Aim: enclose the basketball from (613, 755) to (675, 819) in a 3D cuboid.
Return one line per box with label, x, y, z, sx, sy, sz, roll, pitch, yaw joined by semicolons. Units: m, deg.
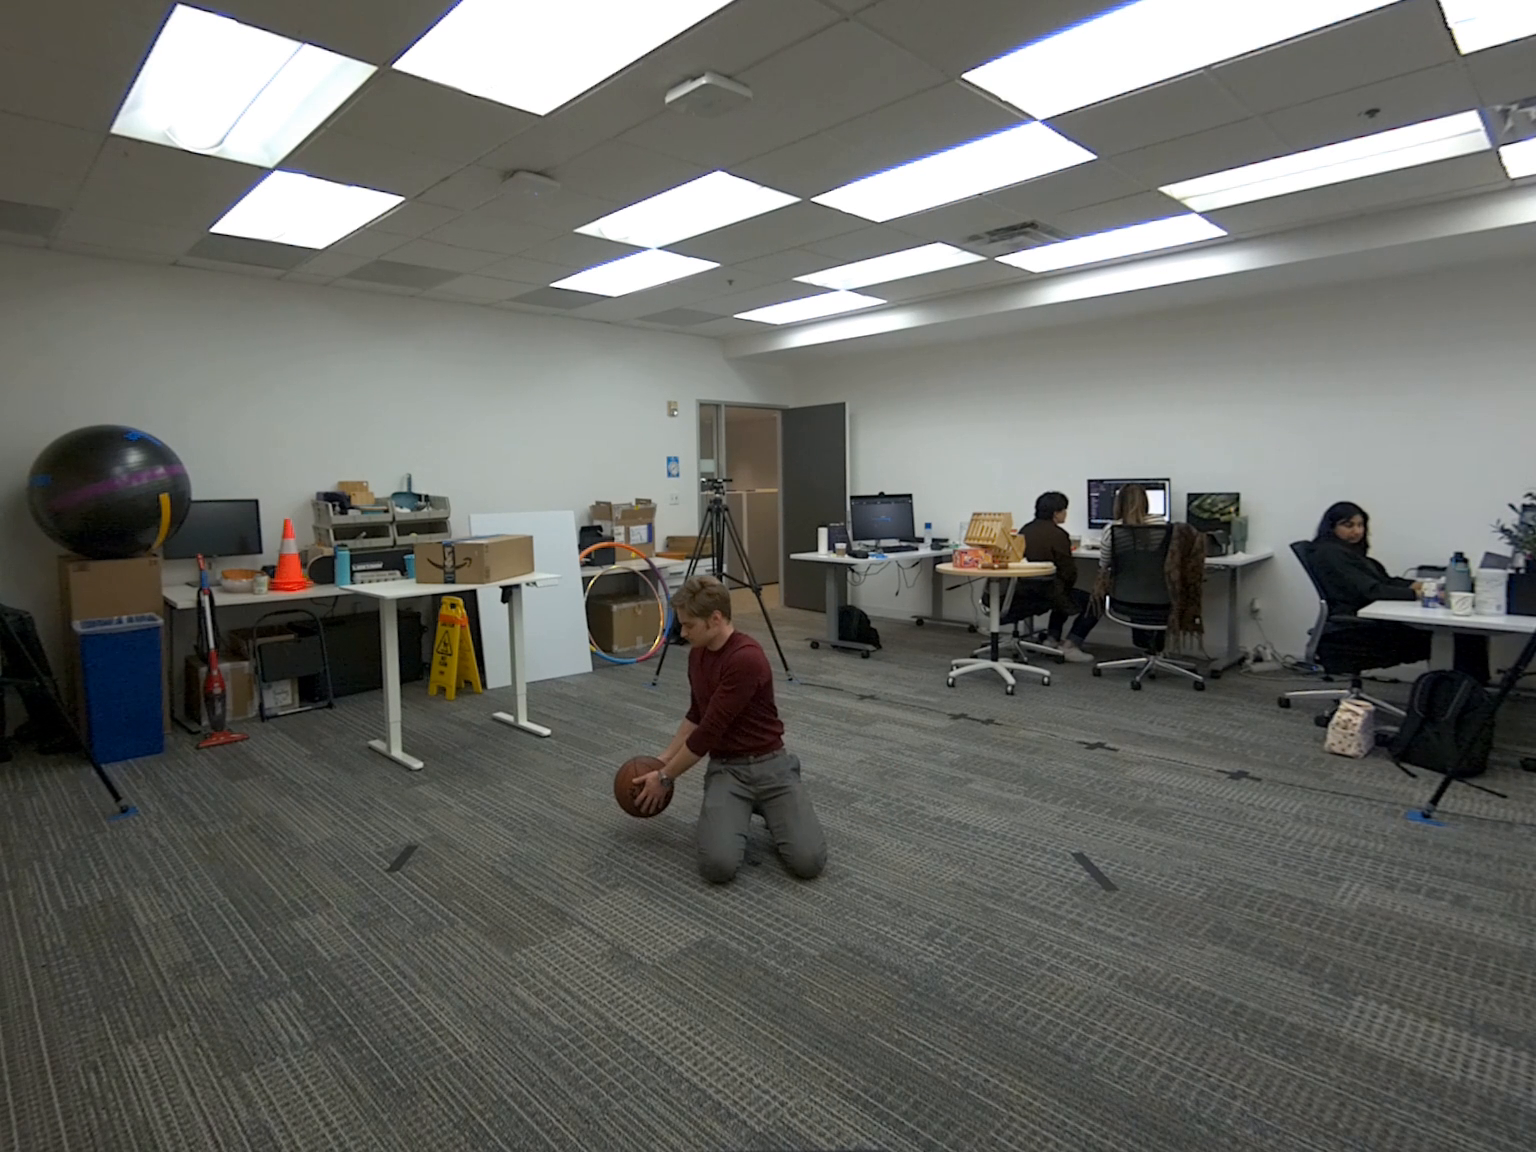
basketball;-0.487;0.825;3.359;0.236;0.235;0.237;-1;5;-2
